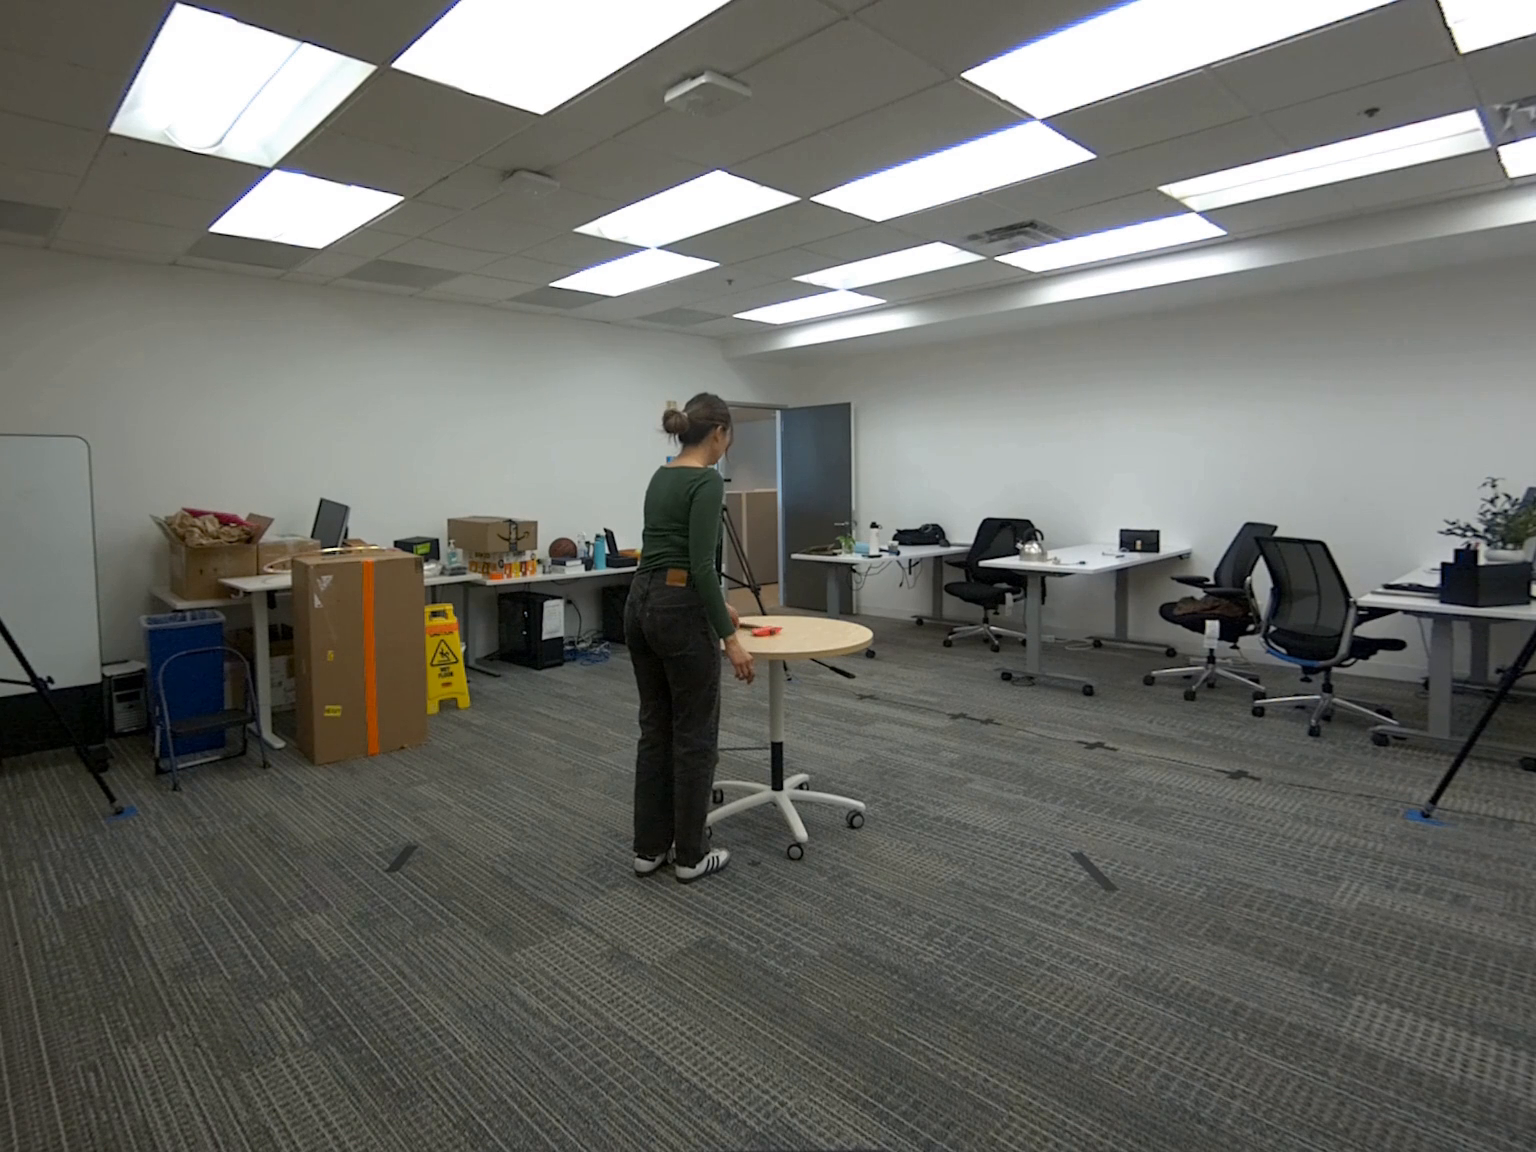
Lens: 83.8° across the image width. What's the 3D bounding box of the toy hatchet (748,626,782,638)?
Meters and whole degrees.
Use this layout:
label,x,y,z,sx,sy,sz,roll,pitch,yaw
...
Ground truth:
label,x,y,z,sx,sy,sz,roll,pitch,yaw
toy hatchet,-0.078,0.215,3.435,0.278,0.029,0.128,2,11,37
